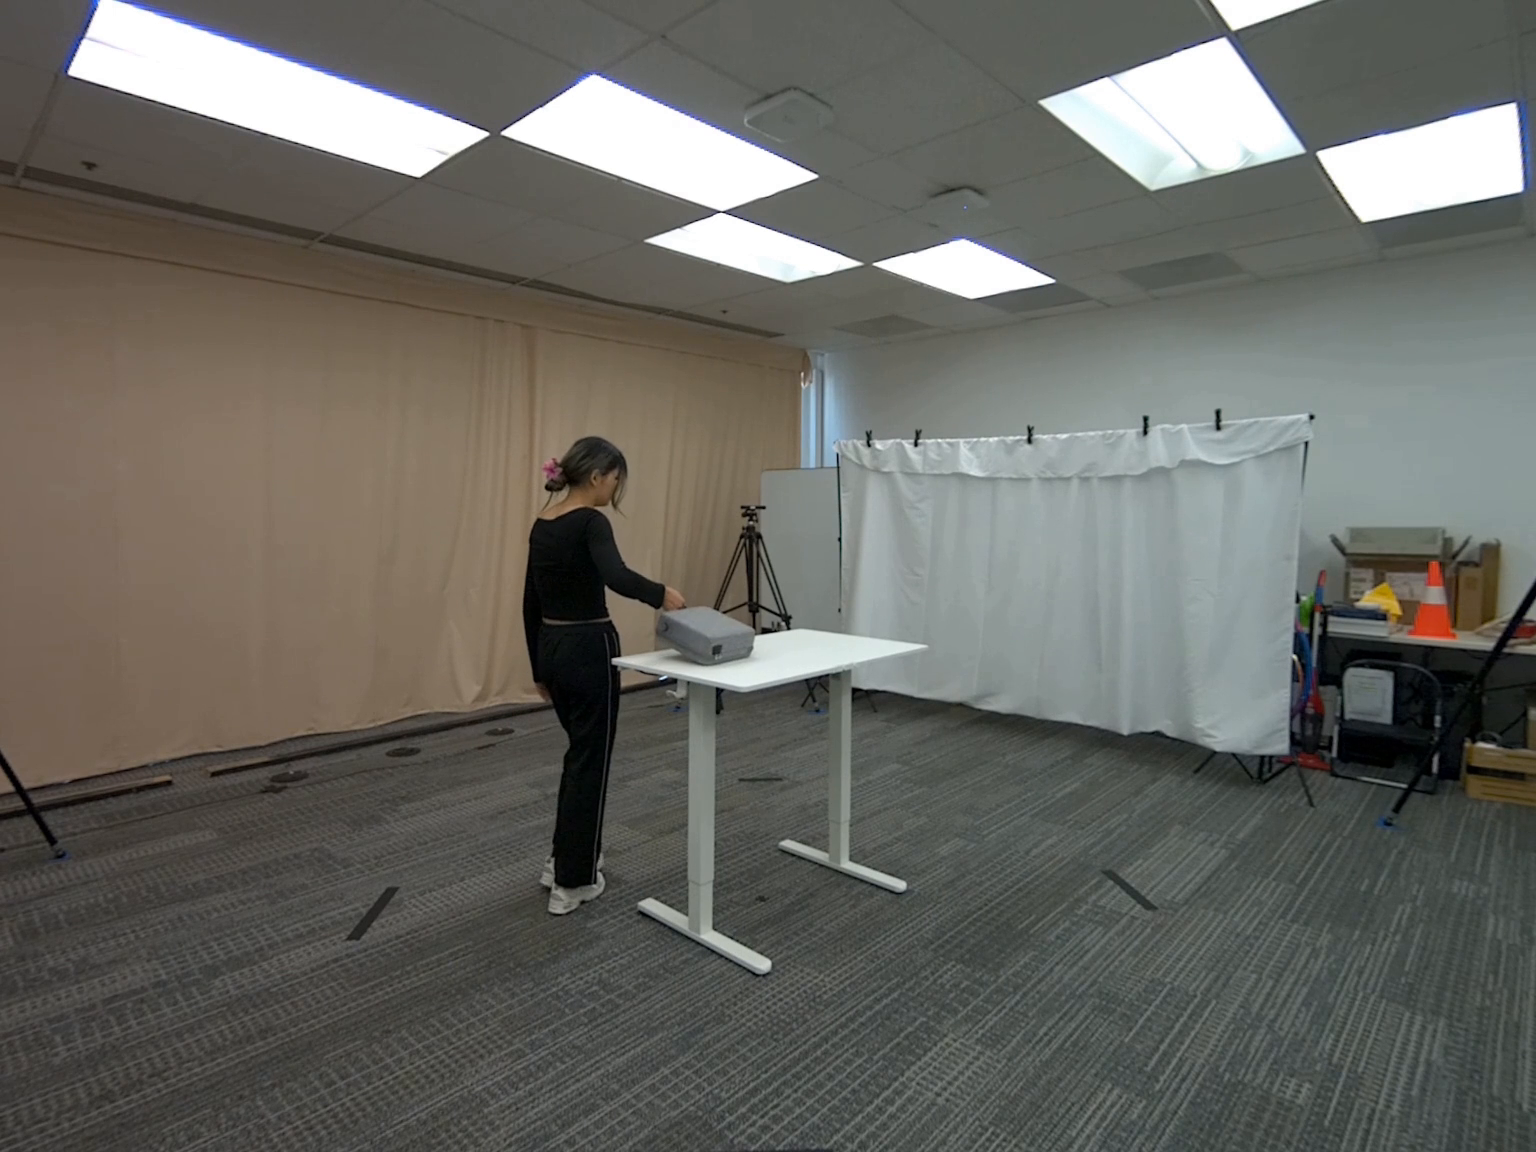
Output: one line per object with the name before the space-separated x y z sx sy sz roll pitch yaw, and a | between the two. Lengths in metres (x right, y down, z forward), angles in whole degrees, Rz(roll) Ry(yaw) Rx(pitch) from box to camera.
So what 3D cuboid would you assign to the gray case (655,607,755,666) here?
gray case | -0.203 0.197 2.800 0.270 0.104 0.249 22 18 34
